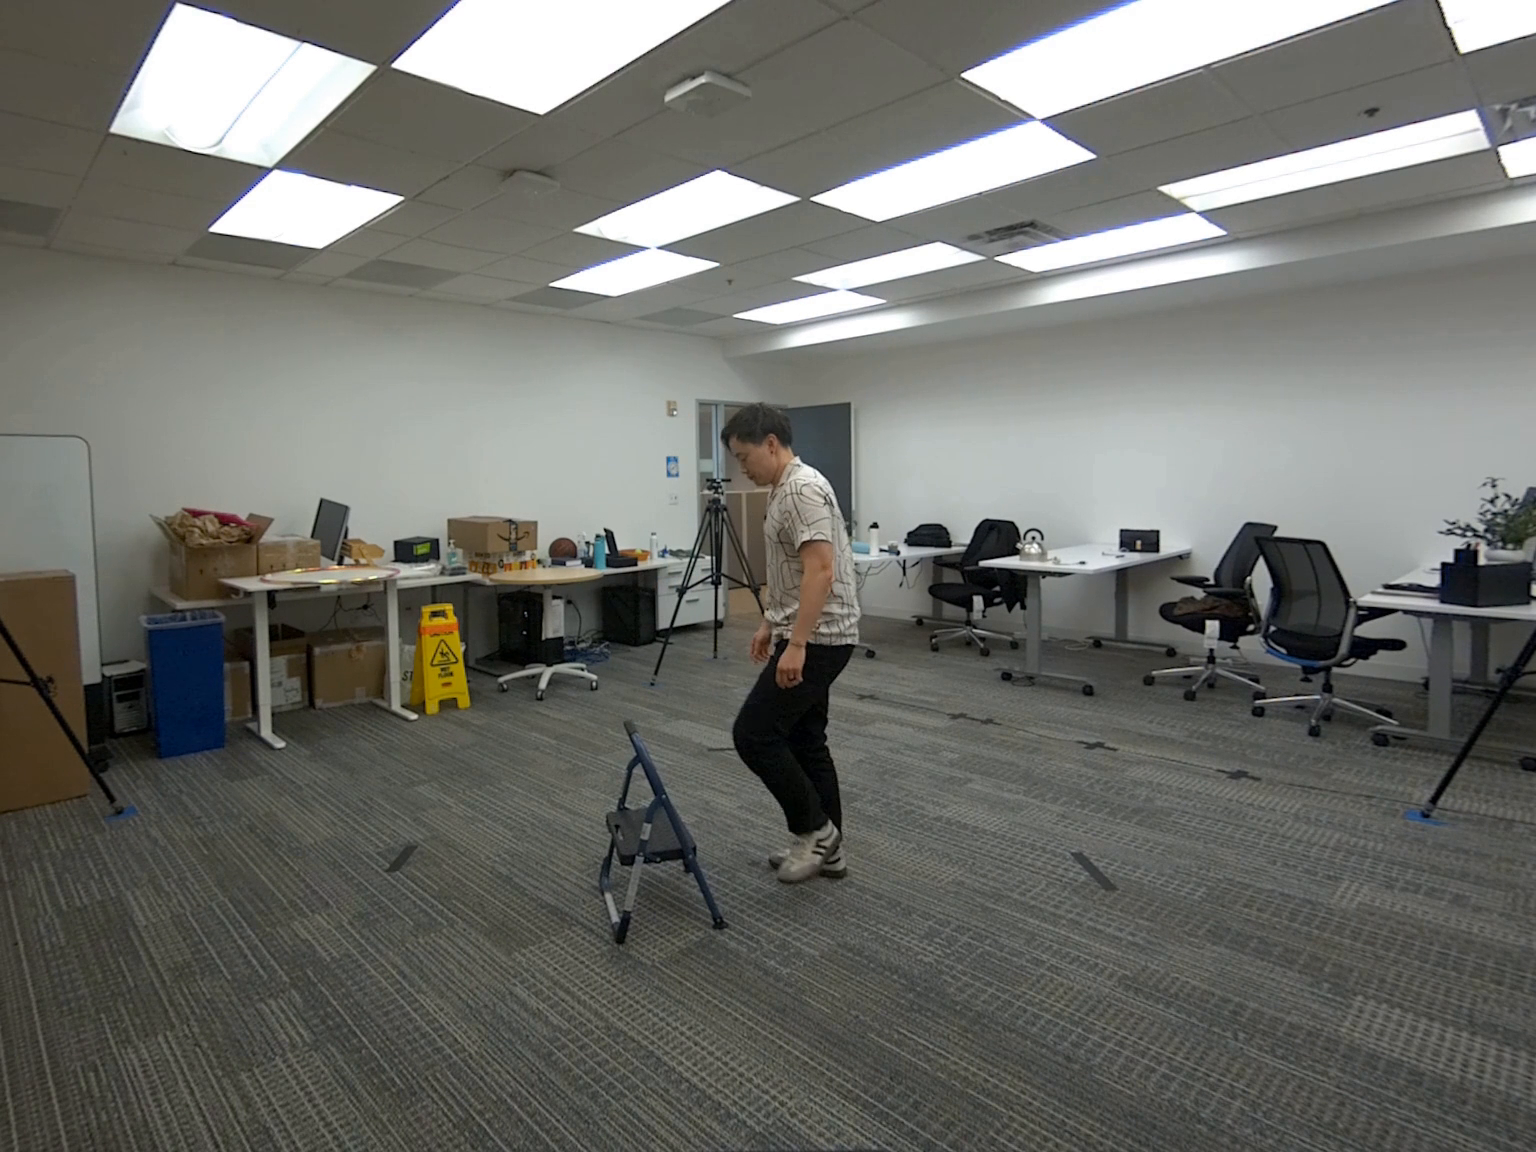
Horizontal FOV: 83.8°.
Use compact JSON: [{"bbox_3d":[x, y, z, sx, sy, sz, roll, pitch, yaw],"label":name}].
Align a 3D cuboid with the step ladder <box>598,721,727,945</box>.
[{"bbox_3d":[-0.360,0.782,2.797,0.344,0.604,0.439,-2,5,-18],"label":"step ladder"}]
